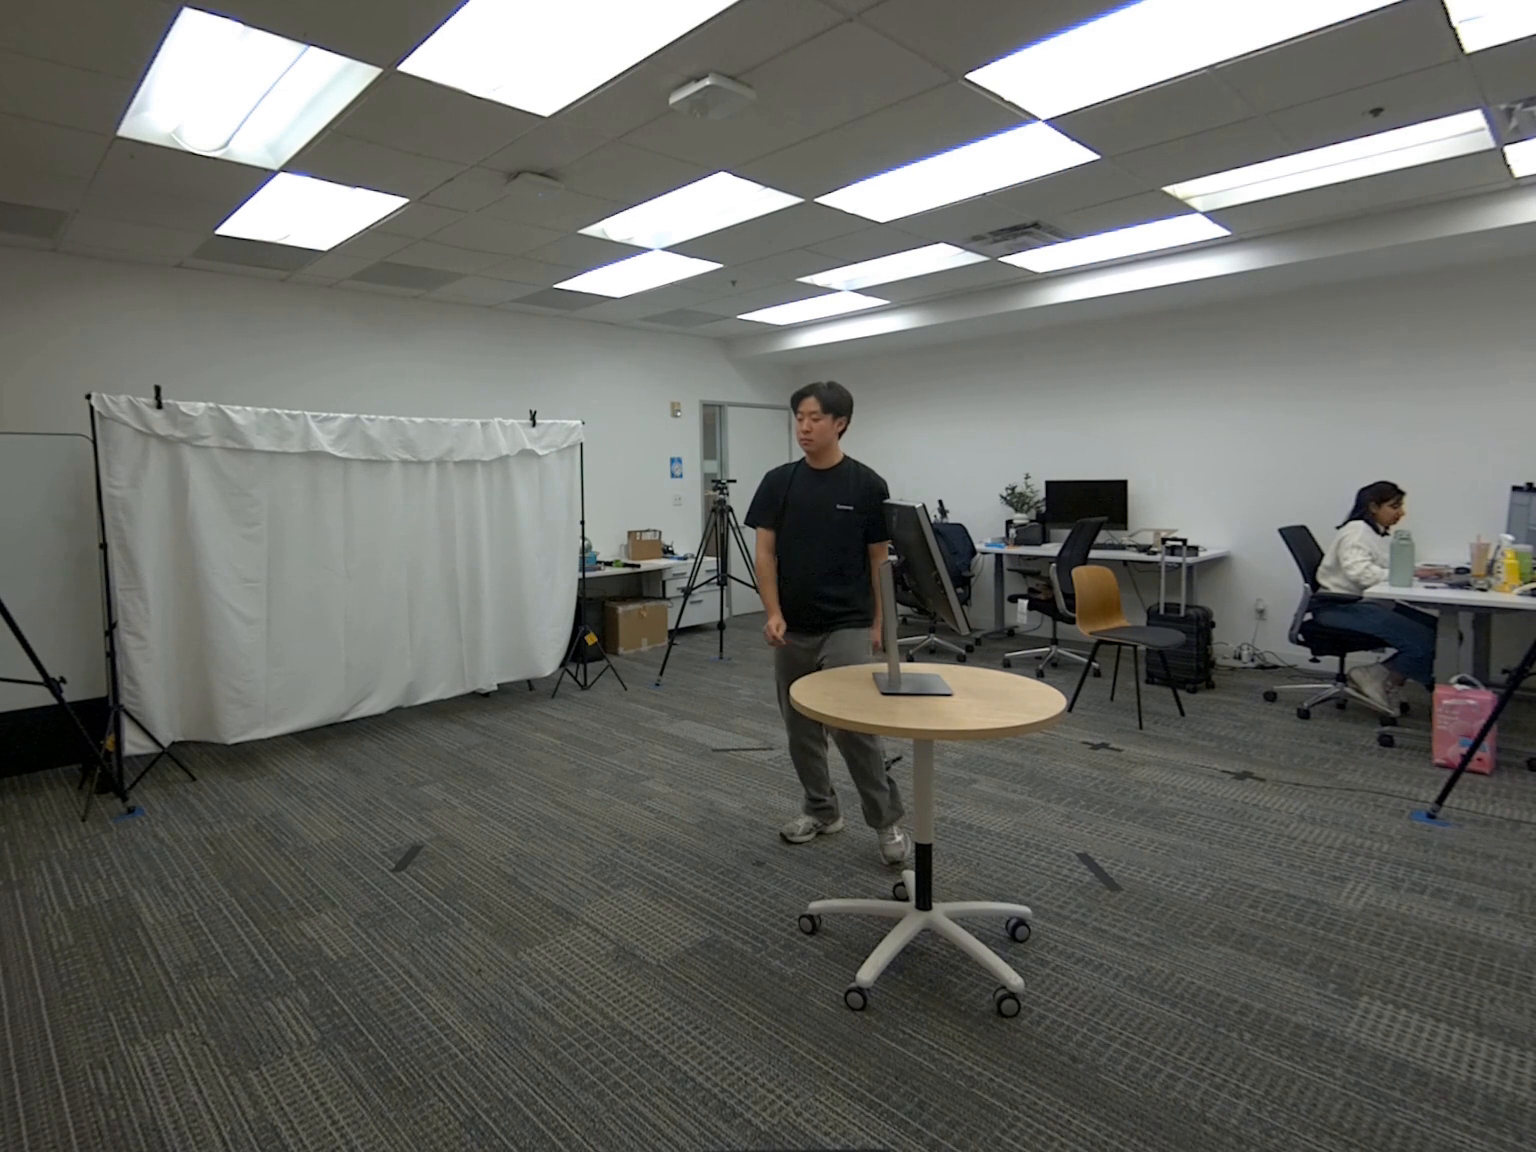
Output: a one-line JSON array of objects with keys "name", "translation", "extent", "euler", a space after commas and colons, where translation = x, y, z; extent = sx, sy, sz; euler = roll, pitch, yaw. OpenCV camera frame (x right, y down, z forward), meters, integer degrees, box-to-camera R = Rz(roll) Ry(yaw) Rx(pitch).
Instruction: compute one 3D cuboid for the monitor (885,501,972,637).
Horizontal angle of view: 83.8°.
[{"name": "monitor", "translation": [0.430, 0.060, 2.502], "extent": [0.223, 0.564, 0.563], "euler": [-2, 5, 1]}]
